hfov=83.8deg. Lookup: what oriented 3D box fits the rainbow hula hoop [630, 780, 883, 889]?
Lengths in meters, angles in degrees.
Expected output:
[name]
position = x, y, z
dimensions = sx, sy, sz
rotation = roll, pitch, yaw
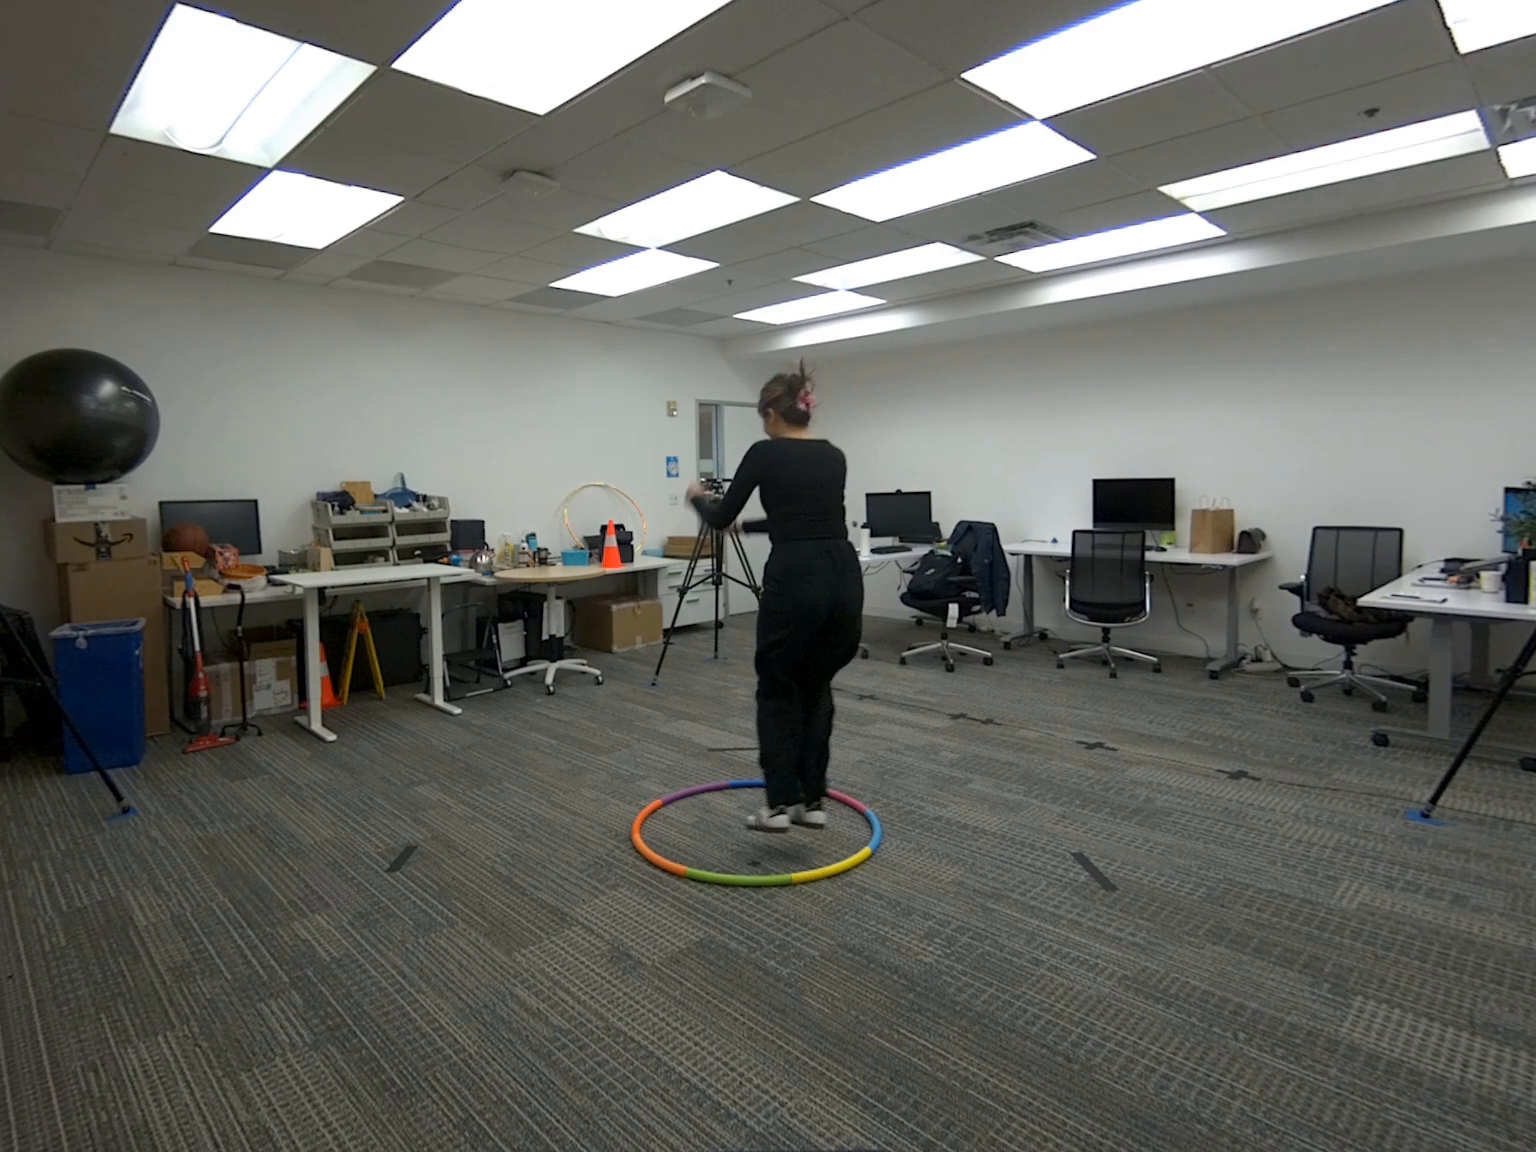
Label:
[rainbow hula hoop]
position = -0.046, 0.982, 3.402
dimensions = 0.978, 0.035, 0.984
rotation = -1, 6, -2
